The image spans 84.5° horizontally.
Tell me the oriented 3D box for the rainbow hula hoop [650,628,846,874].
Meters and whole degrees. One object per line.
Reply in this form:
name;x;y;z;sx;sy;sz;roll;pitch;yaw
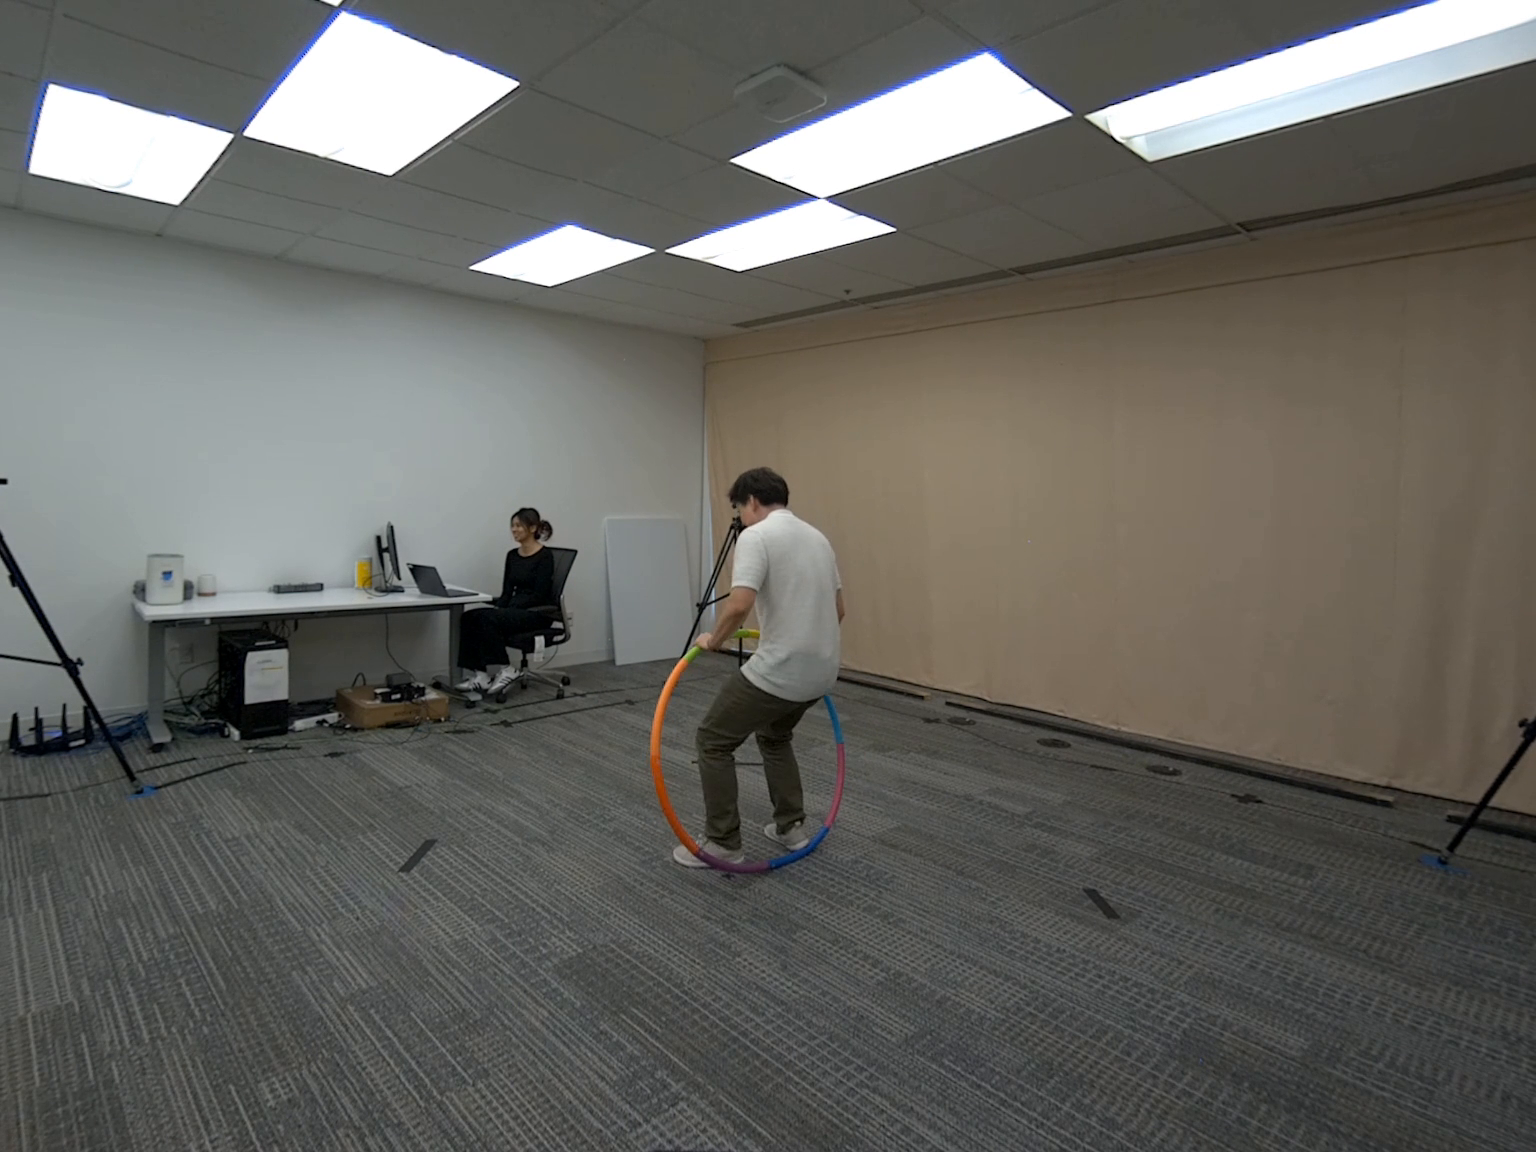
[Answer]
rainbow hula hoop;-0.043;0.662;3.244;0.036;0.986;0.956;-19;-11;41
